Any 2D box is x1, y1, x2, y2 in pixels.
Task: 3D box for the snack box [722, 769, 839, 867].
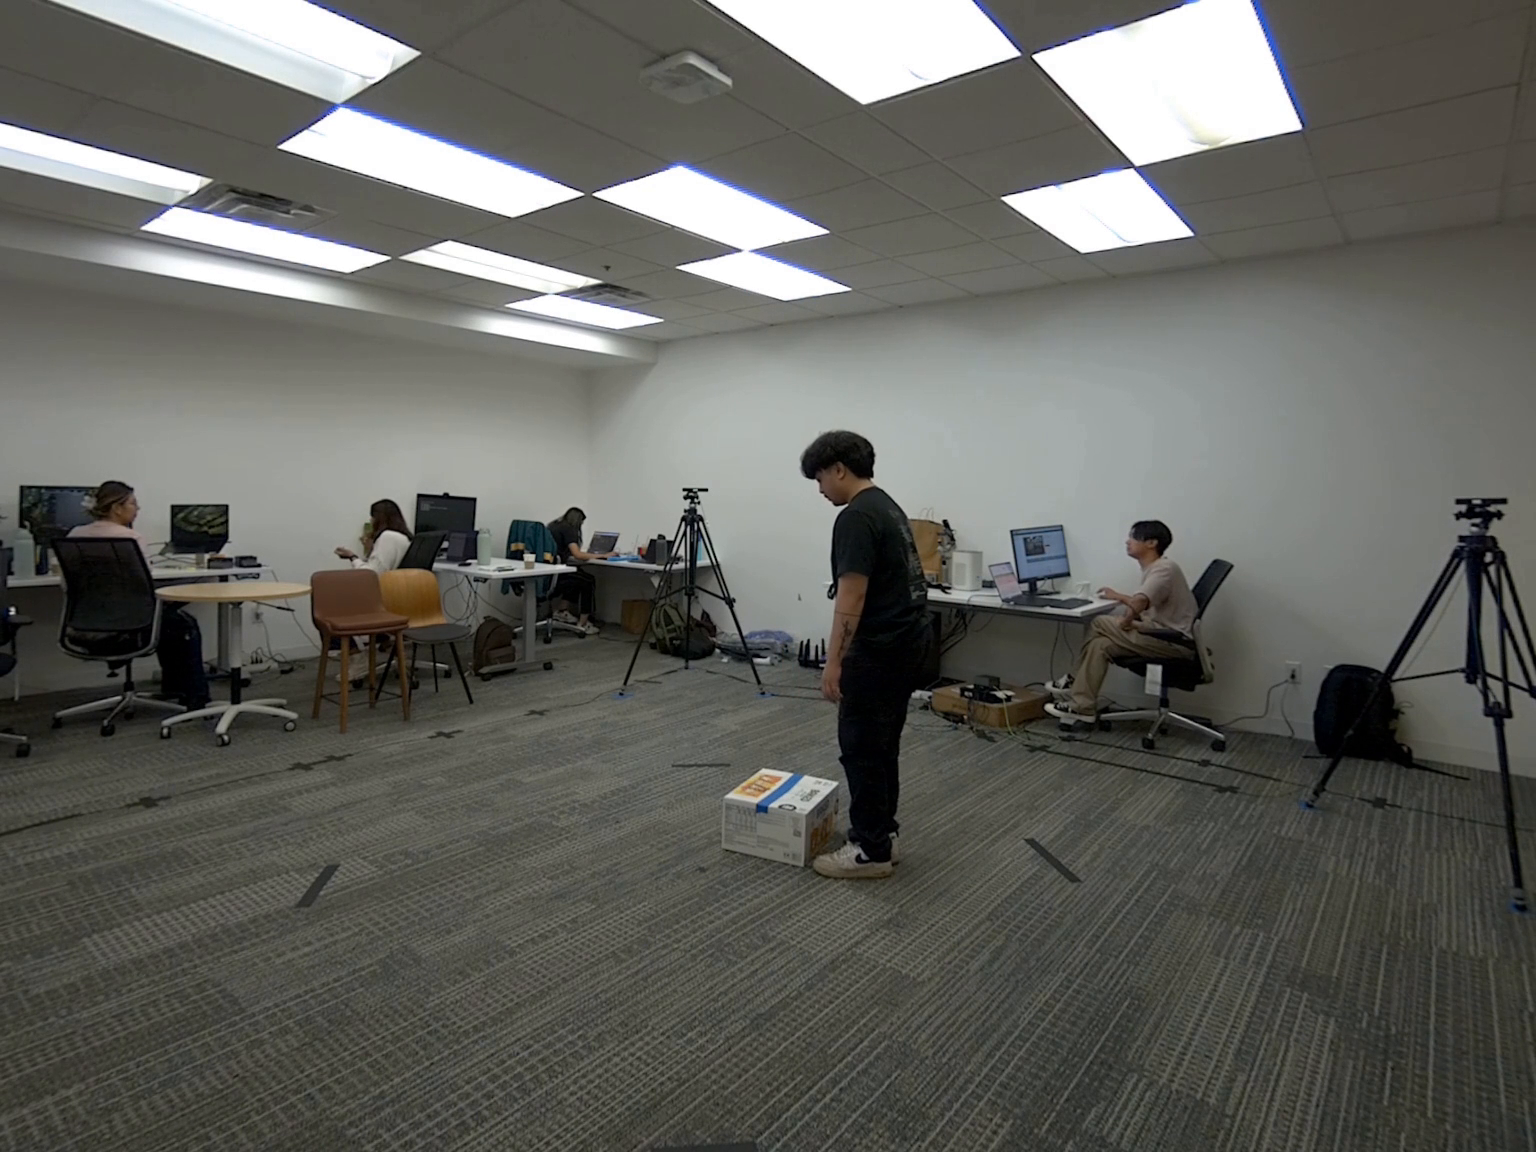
[{"bbox_3d":[0.047,0.945,3.382,0.349,0.205,0.396,4,6,24],"label":"snack box"}]
